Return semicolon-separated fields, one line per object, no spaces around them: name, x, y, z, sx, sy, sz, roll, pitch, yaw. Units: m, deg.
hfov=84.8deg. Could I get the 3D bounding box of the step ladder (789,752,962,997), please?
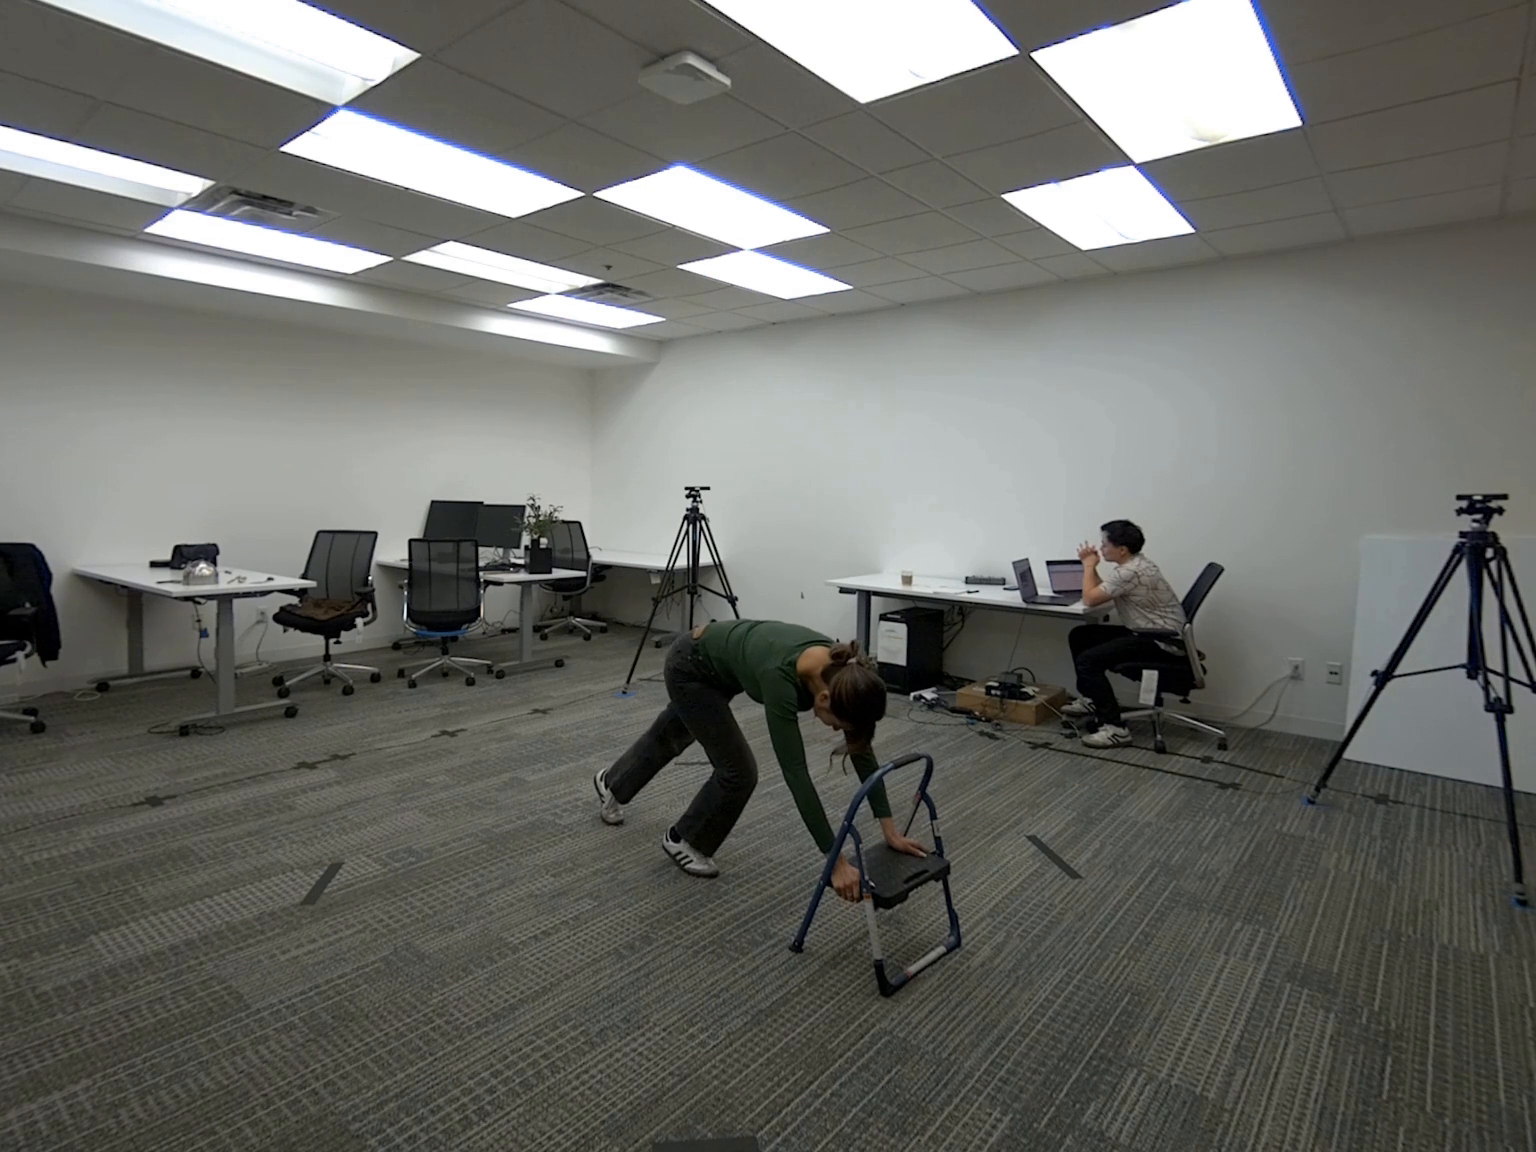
step ladder;0.331;0.827;2.578;0.361;0.604;0.418;5;5;42
